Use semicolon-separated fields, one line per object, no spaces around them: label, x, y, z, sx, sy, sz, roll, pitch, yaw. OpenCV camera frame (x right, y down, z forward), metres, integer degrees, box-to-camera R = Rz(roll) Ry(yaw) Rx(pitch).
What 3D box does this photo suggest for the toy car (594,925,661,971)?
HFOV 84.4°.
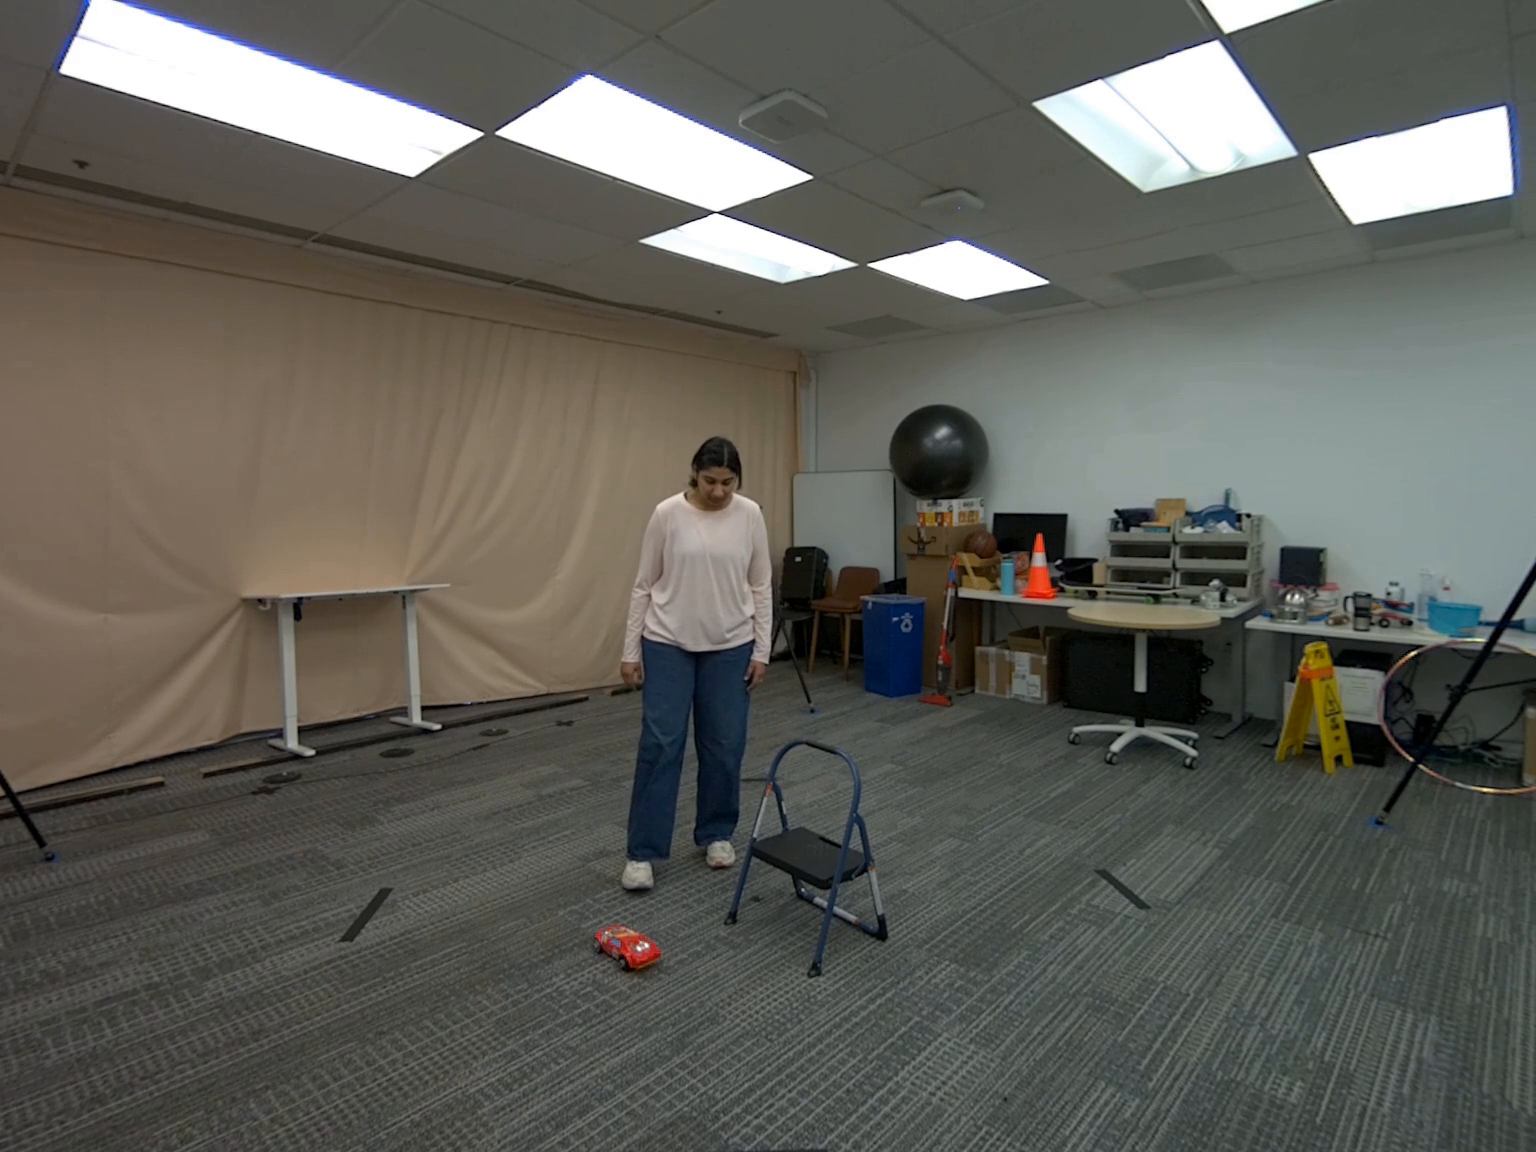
toy car;-0.430;1.147;2.595;0.126;0.083;0.261;-6;-3;-43
